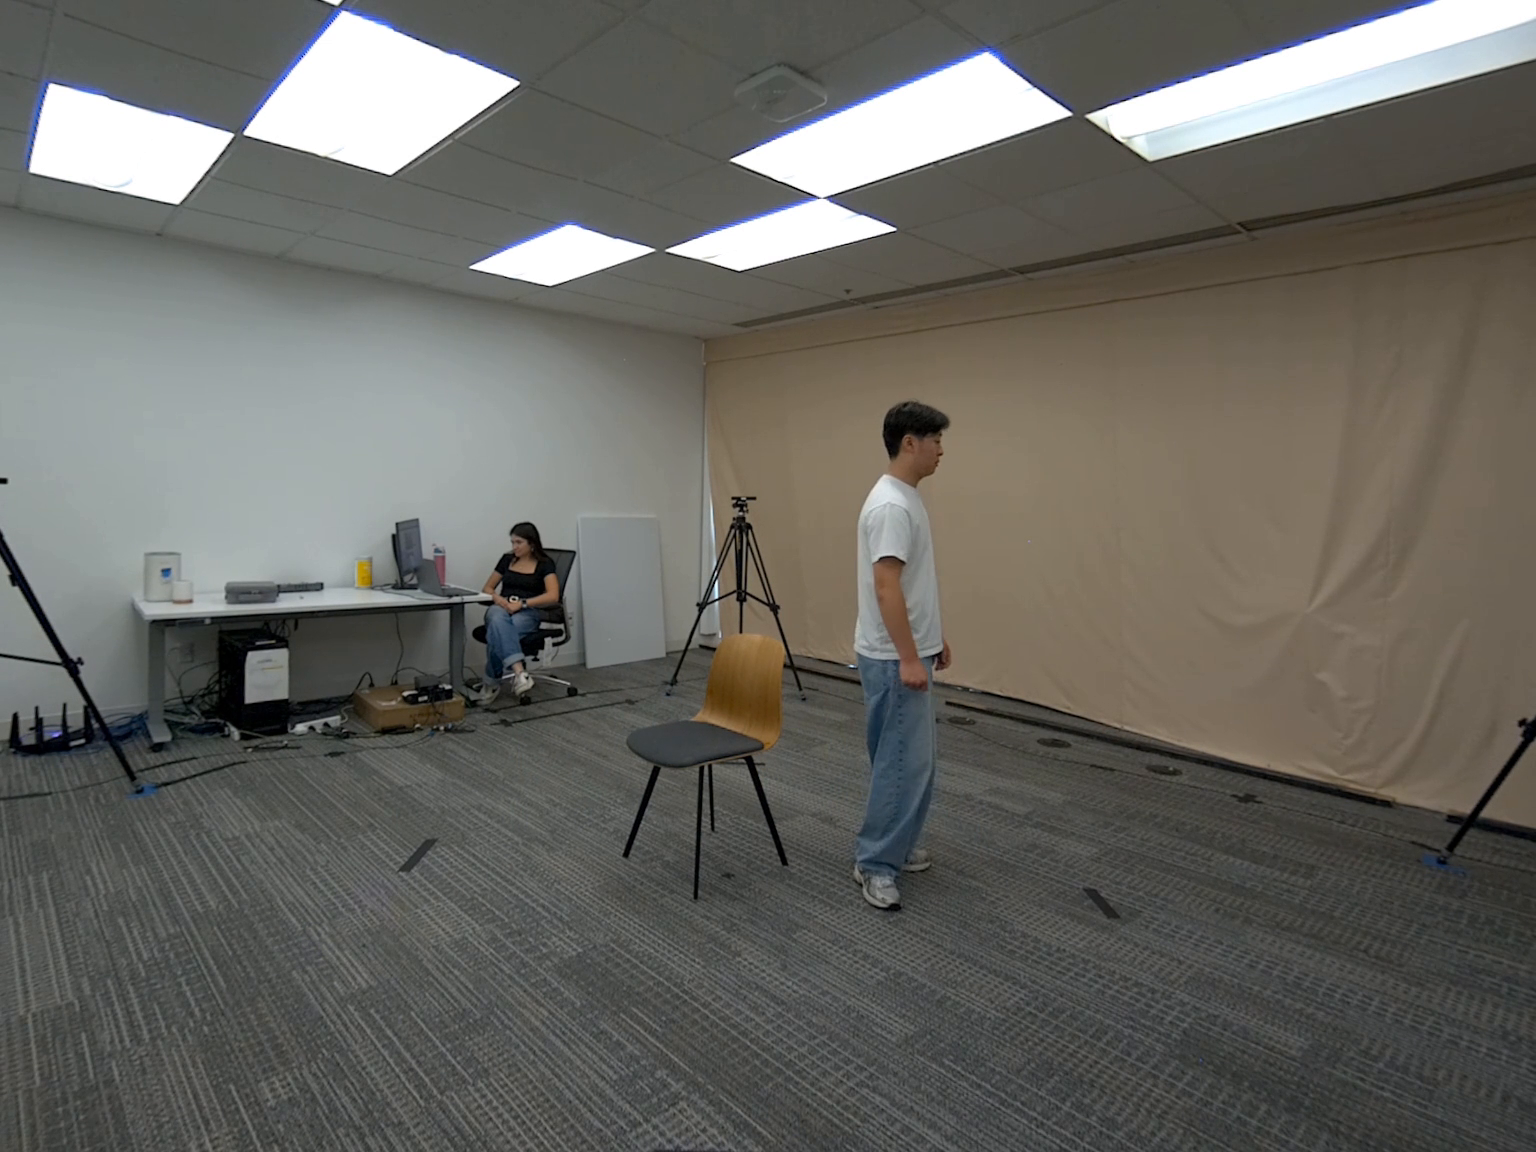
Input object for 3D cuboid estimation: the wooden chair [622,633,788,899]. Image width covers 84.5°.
[{"bbox_3d":[-0.240,0.667,3.188,0.510,0.877,0.490,5,0,-43],"label":"wooden chair"}]
